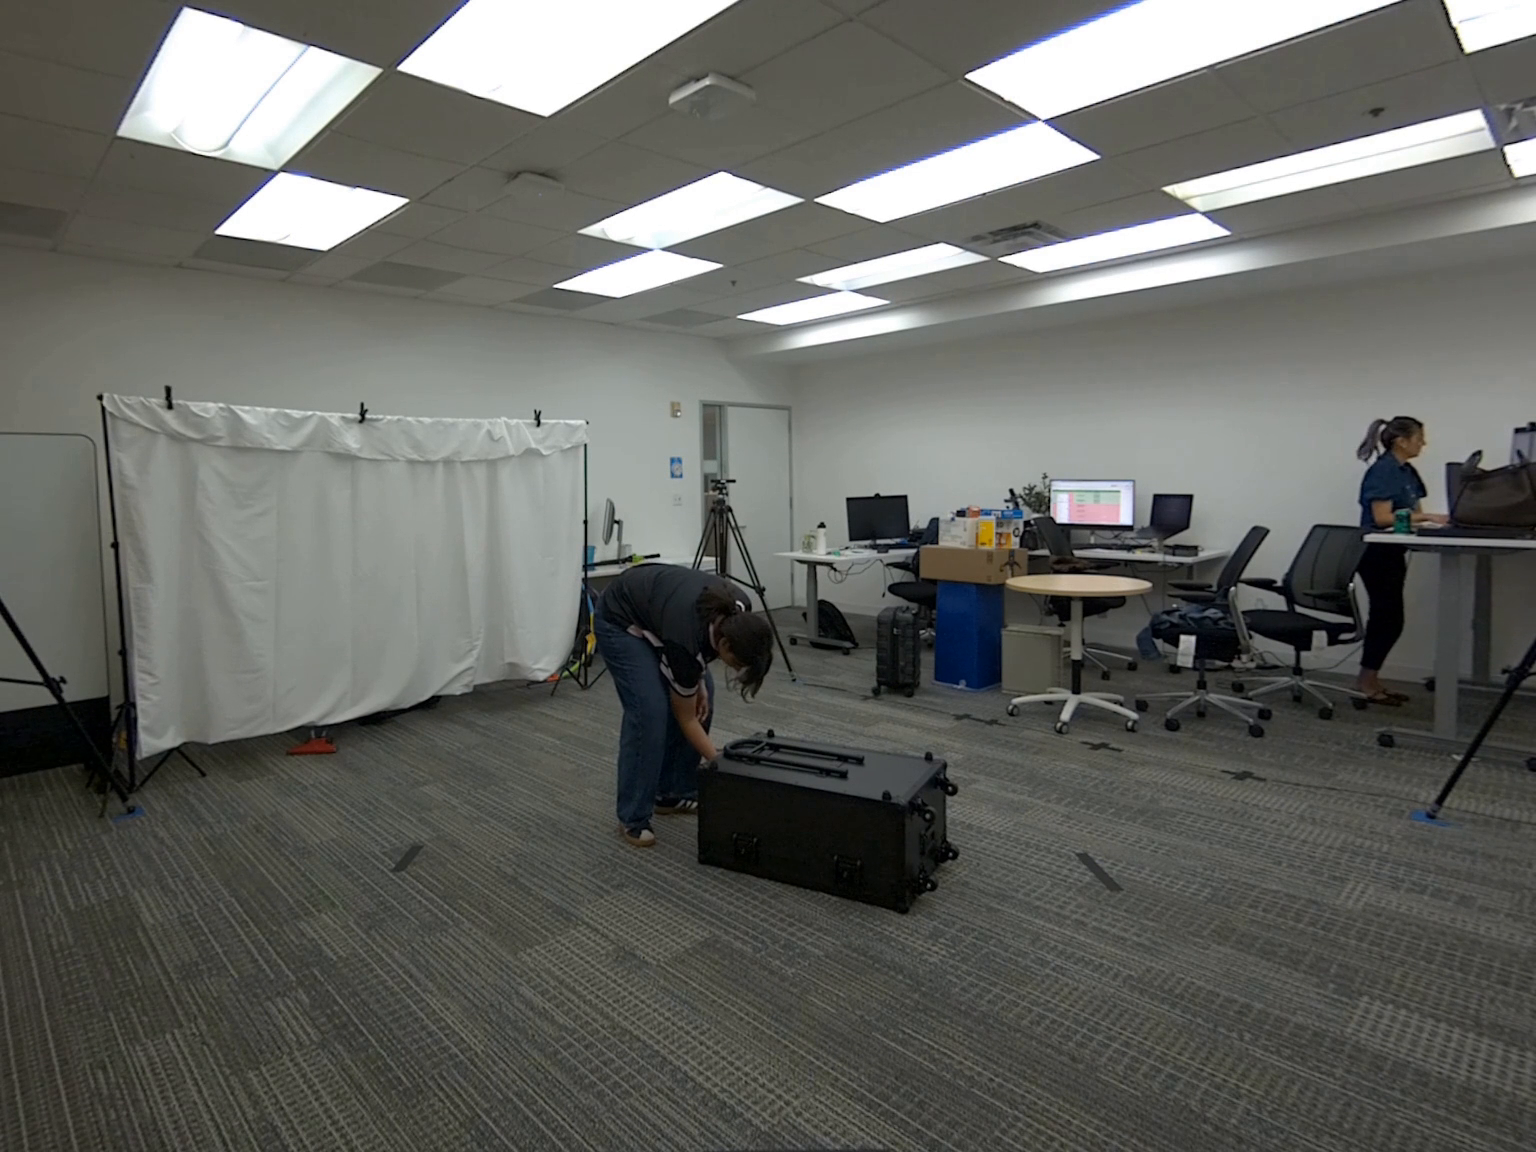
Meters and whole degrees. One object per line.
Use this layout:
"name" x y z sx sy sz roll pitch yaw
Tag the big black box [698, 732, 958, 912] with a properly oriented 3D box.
"big black box" 0.236 0.845 3.099 0.884 0.395 0.510 3 6 29
